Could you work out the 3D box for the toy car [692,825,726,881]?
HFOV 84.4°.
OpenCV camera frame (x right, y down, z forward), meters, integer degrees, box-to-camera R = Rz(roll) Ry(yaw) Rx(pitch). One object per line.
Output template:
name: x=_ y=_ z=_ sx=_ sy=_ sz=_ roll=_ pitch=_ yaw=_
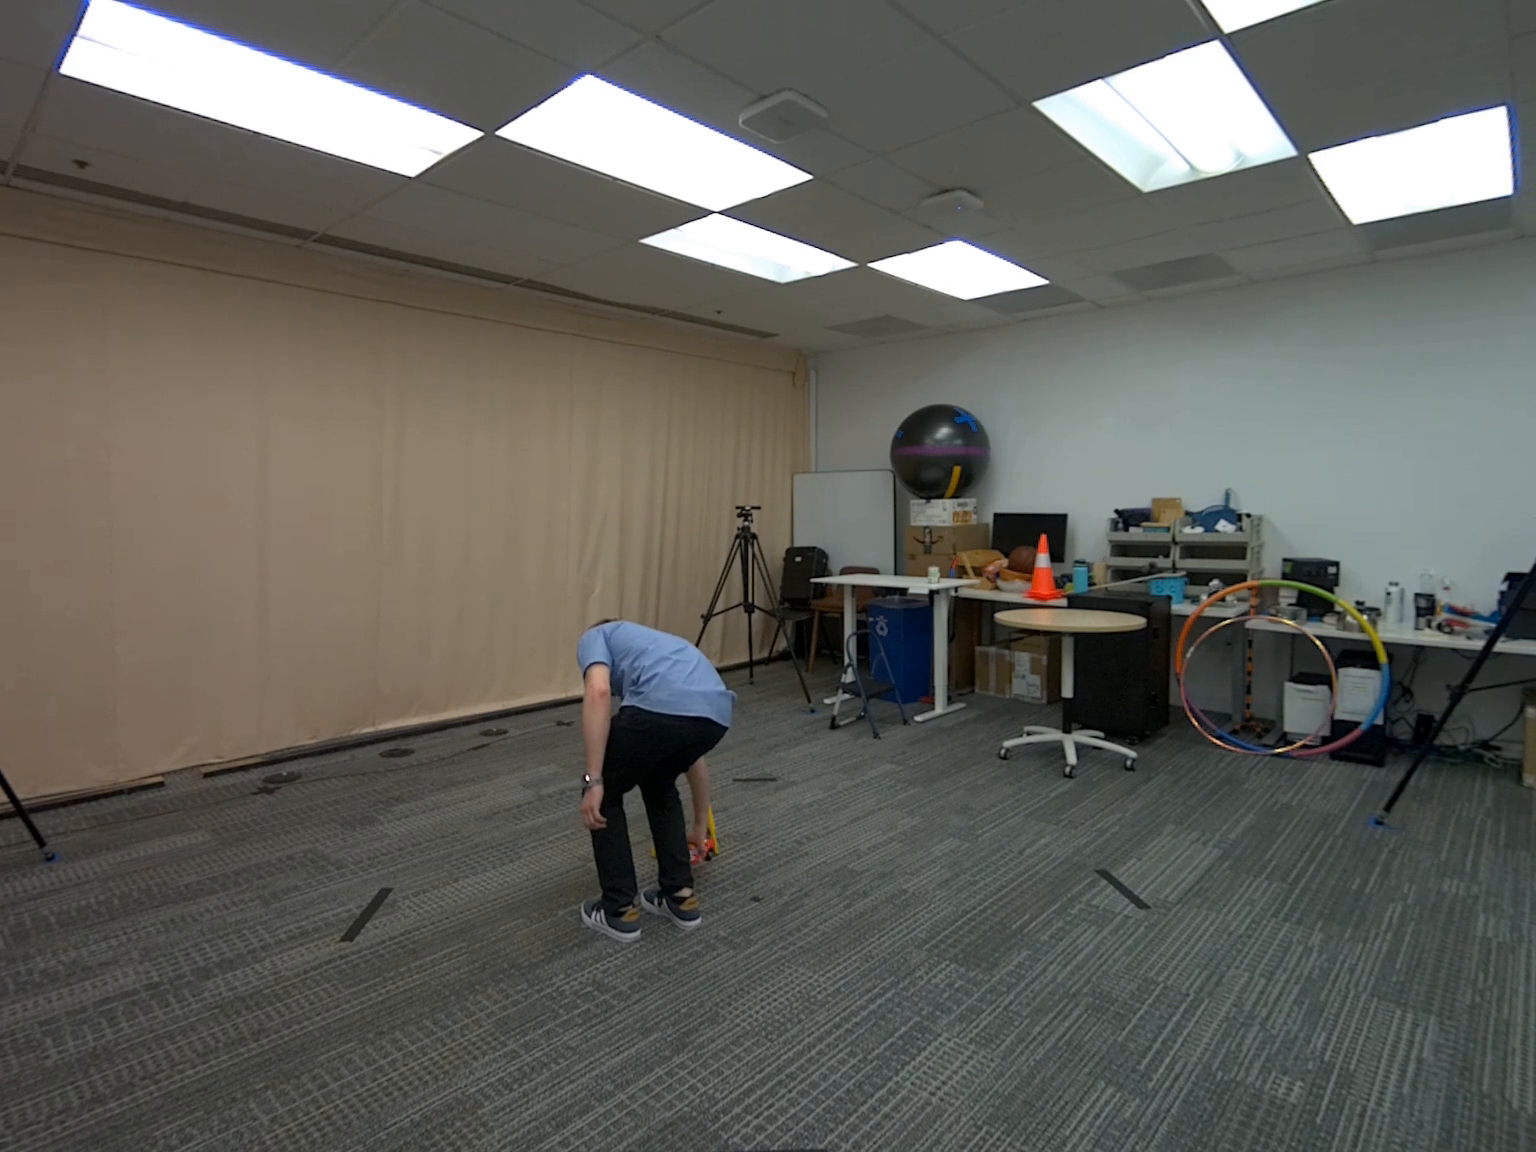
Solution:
toy car: x=-0.282 y=1.021 z=3.141 sx=0.134 sy=0.082 sz=0.249 roll=0 pitch=14 yaw=29
